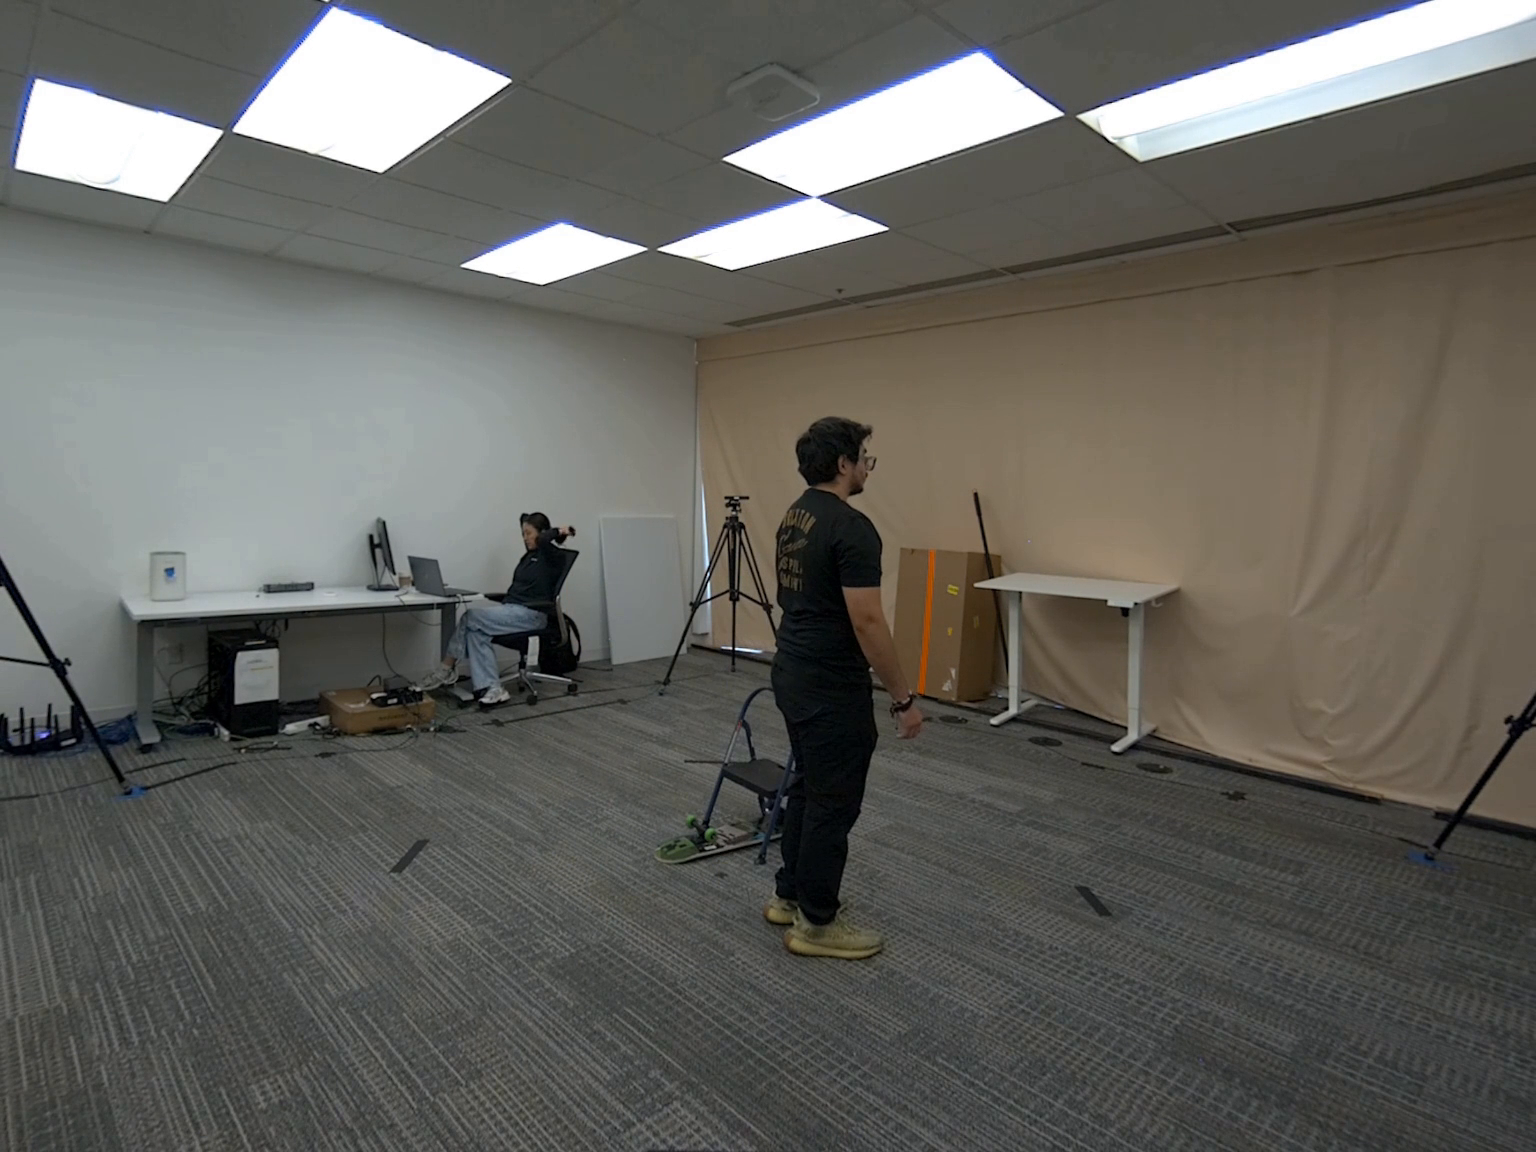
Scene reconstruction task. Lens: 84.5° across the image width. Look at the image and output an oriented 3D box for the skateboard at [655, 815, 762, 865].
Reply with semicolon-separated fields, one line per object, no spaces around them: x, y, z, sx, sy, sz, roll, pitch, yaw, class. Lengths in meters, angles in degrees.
-0.115;1.024;3.435;0.769;0.110;0.198;-3;7;-35;skateboard
